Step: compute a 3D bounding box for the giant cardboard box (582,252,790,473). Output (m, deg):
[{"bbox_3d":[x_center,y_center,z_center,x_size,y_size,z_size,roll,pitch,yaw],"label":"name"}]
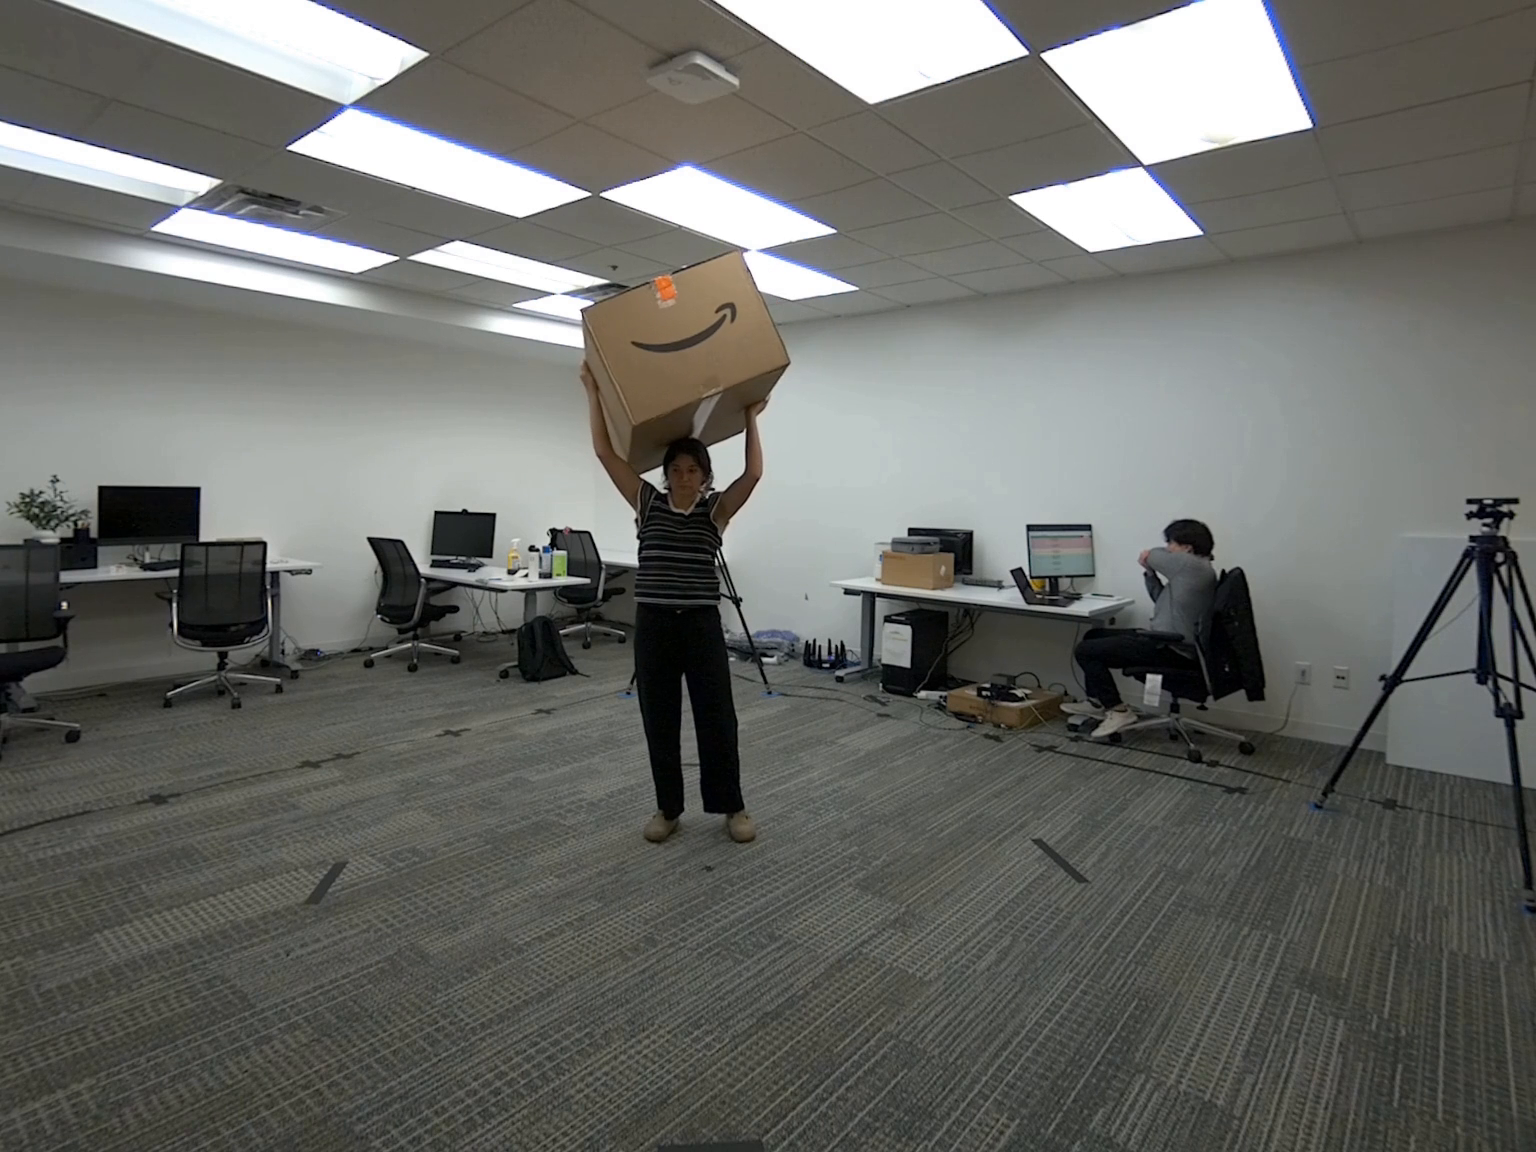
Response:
[{"bbox_3d":[-0.368,-0.755,3.260,0.574,0.427,1.030,-23,0,-11],"label":"giant cardboard box"}]
